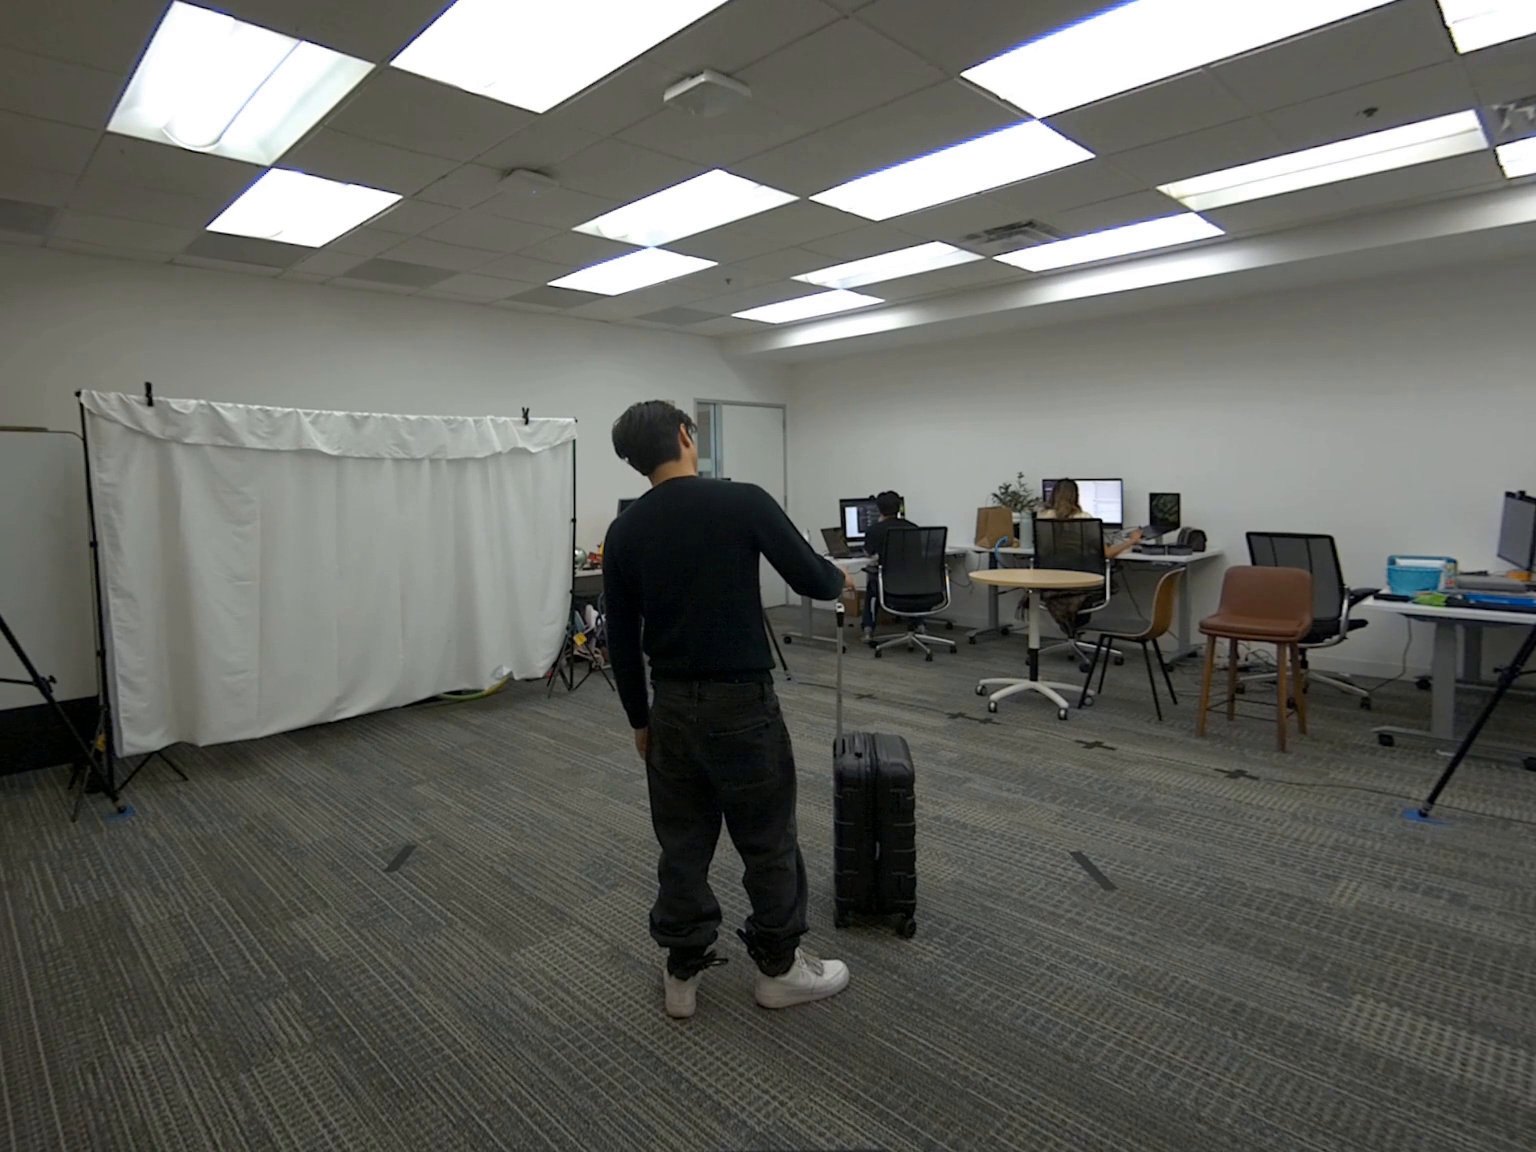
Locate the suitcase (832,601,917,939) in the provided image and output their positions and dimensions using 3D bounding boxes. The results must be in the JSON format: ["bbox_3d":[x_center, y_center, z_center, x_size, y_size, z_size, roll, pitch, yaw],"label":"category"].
[{"bbox_3d":[0.345,0.598,2.734,0.258,0.974,0.383,1,5,5],"label":"suitcase"}]
